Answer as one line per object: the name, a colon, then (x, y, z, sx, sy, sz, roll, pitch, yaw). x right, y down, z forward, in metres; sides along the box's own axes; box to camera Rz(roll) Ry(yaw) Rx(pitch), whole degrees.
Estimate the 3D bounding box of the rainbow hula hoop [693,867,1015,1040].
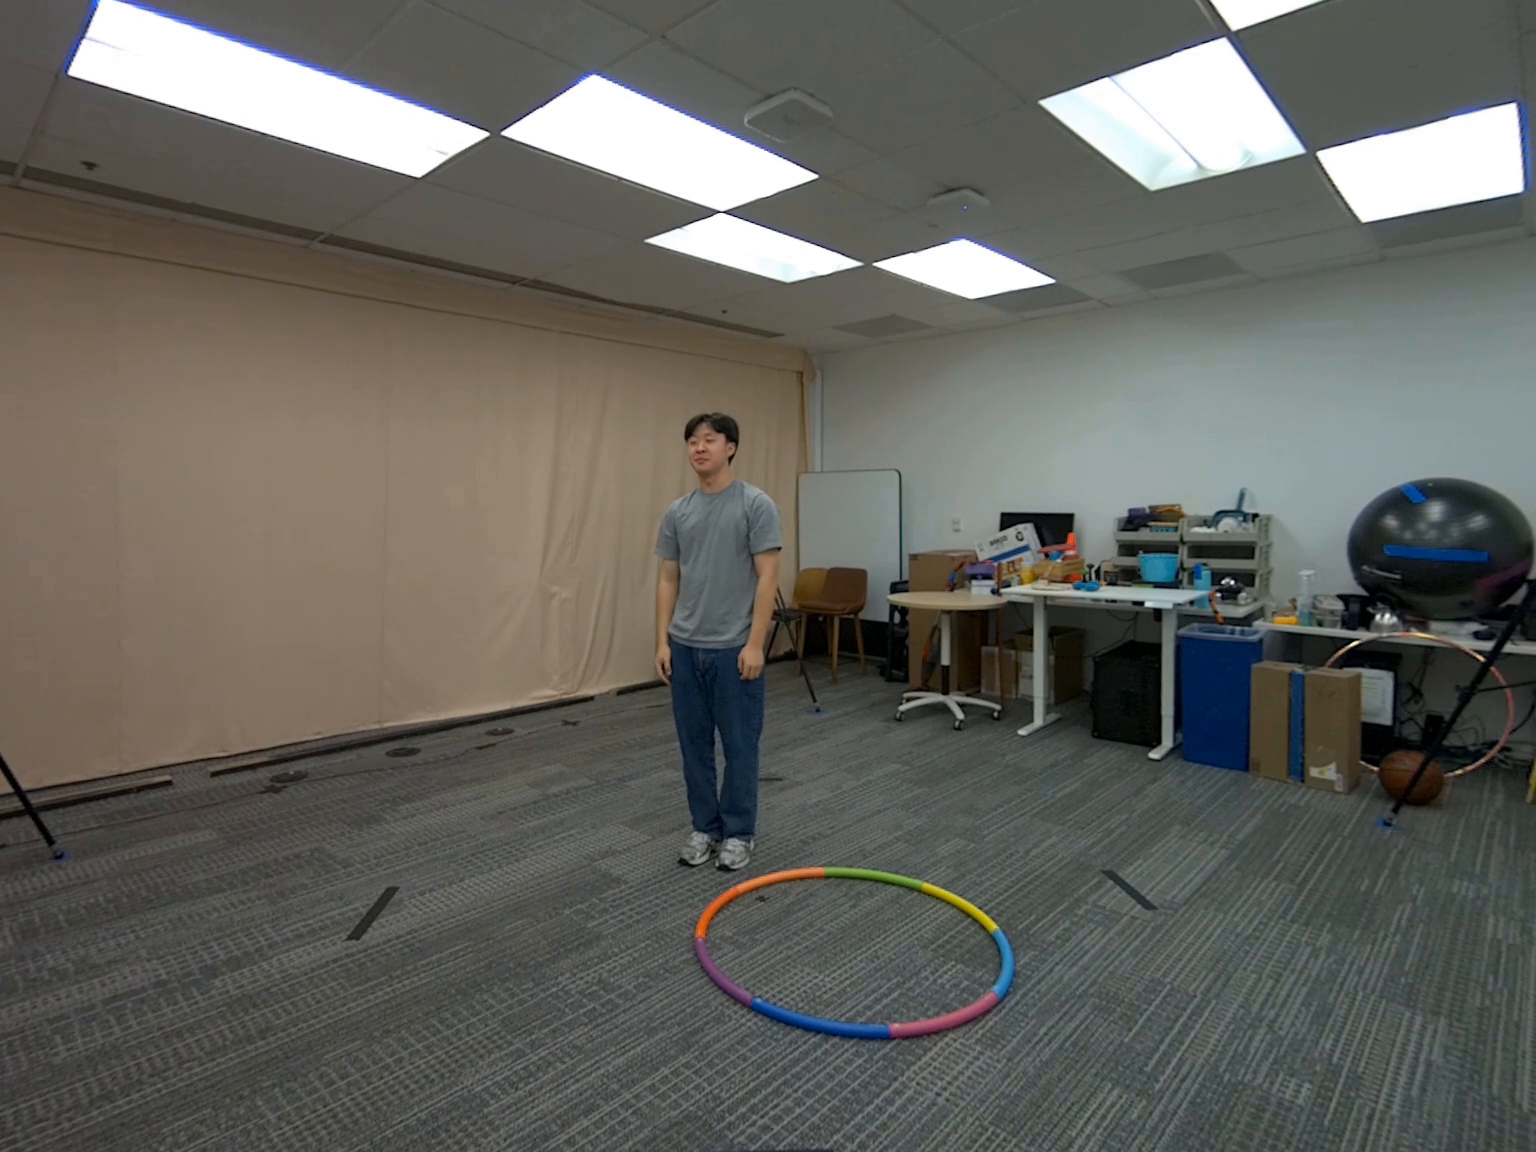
rainbow hula hoop: (0.263, 1.138, 2.682, 0.978, 0.035, 0.982, -1, 5, -2)
